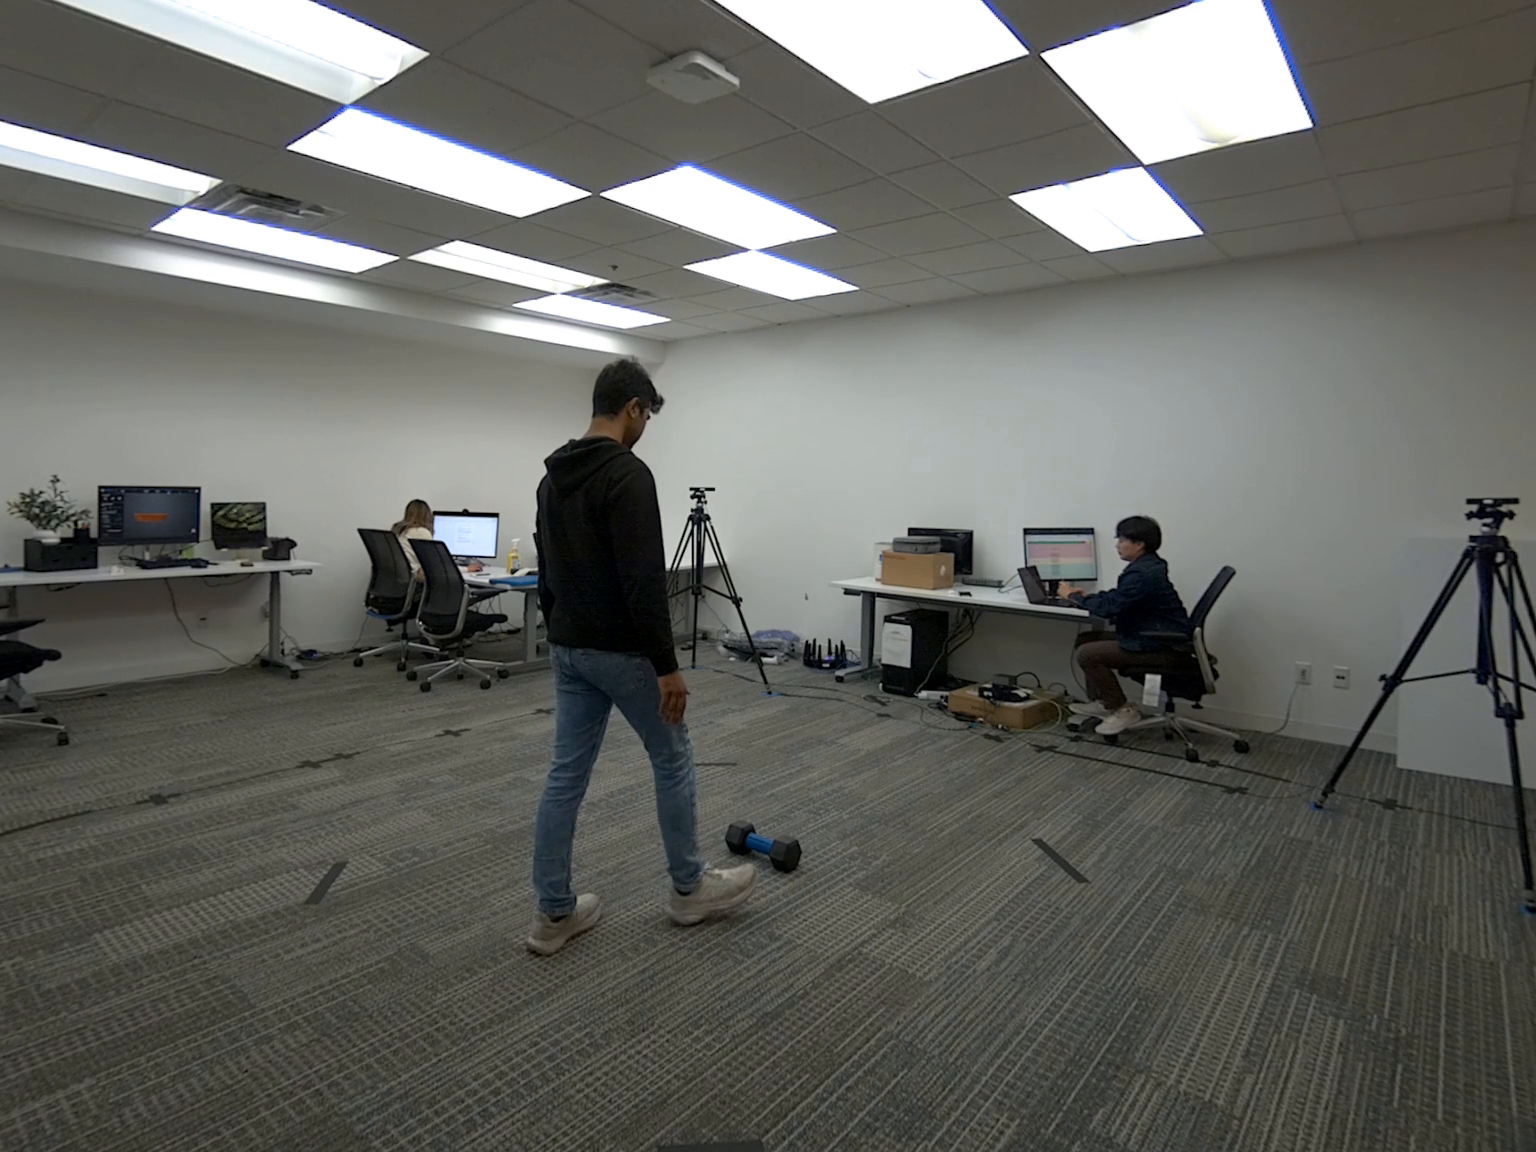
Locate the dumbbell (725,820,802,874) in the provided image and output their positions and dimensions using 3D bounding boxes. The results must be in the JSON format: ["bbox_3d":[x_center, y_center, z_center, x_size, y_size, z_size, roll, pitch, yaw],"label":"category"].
[{"bbox_3d":[-0.031,1.005,3.192,0.303,0.119,0.108,4,36,39],"label":"dumbbell"}]
